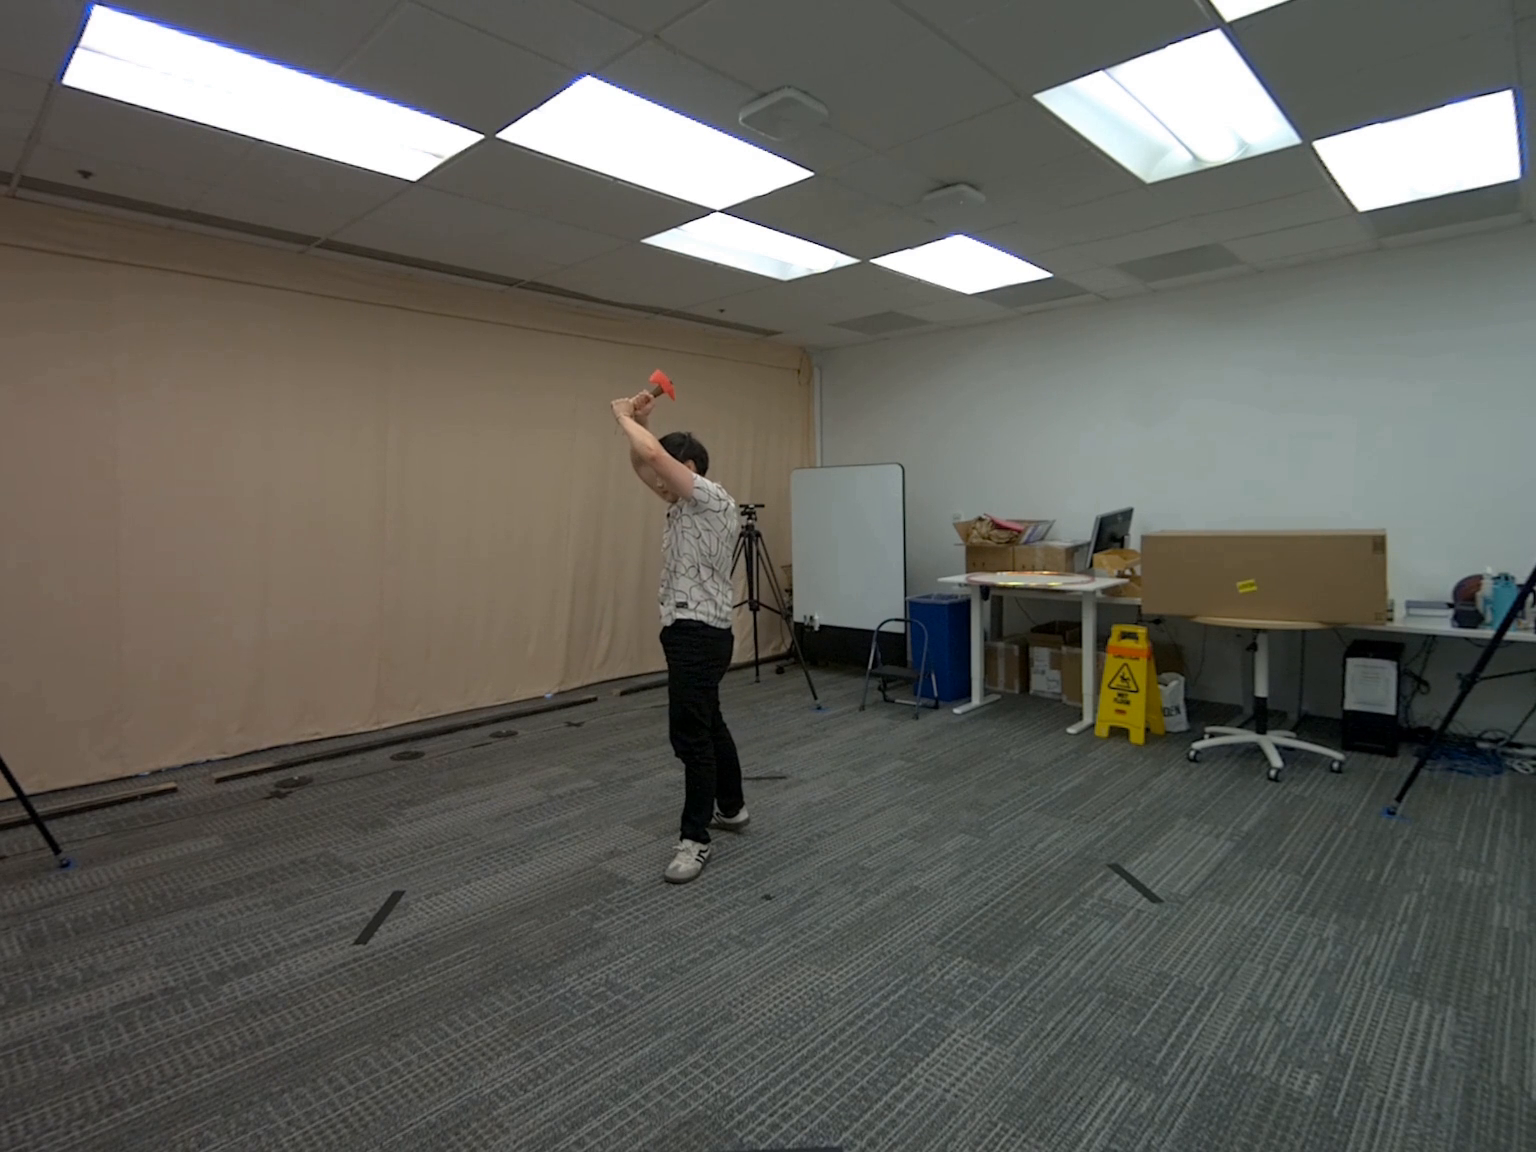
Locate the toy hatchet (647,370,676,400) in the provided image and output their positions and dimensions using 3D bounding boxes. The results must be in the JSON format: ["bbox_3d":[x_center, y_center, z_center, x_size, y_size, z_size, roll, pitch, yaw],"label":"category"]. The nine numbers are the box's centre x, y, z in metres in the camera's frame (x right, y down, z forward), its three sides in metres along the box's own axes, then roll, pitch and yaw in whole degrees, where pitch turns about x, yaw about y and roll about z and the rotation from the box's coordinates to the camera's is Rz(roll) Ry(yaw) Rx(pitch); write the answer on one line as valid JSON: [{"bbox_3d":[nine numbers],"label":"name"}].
[{"bbox_3d":[-0.497,-0.723,3.284,0.266,0.129,0.030,-15,18,-18],"label":"toy hatchet"}]
